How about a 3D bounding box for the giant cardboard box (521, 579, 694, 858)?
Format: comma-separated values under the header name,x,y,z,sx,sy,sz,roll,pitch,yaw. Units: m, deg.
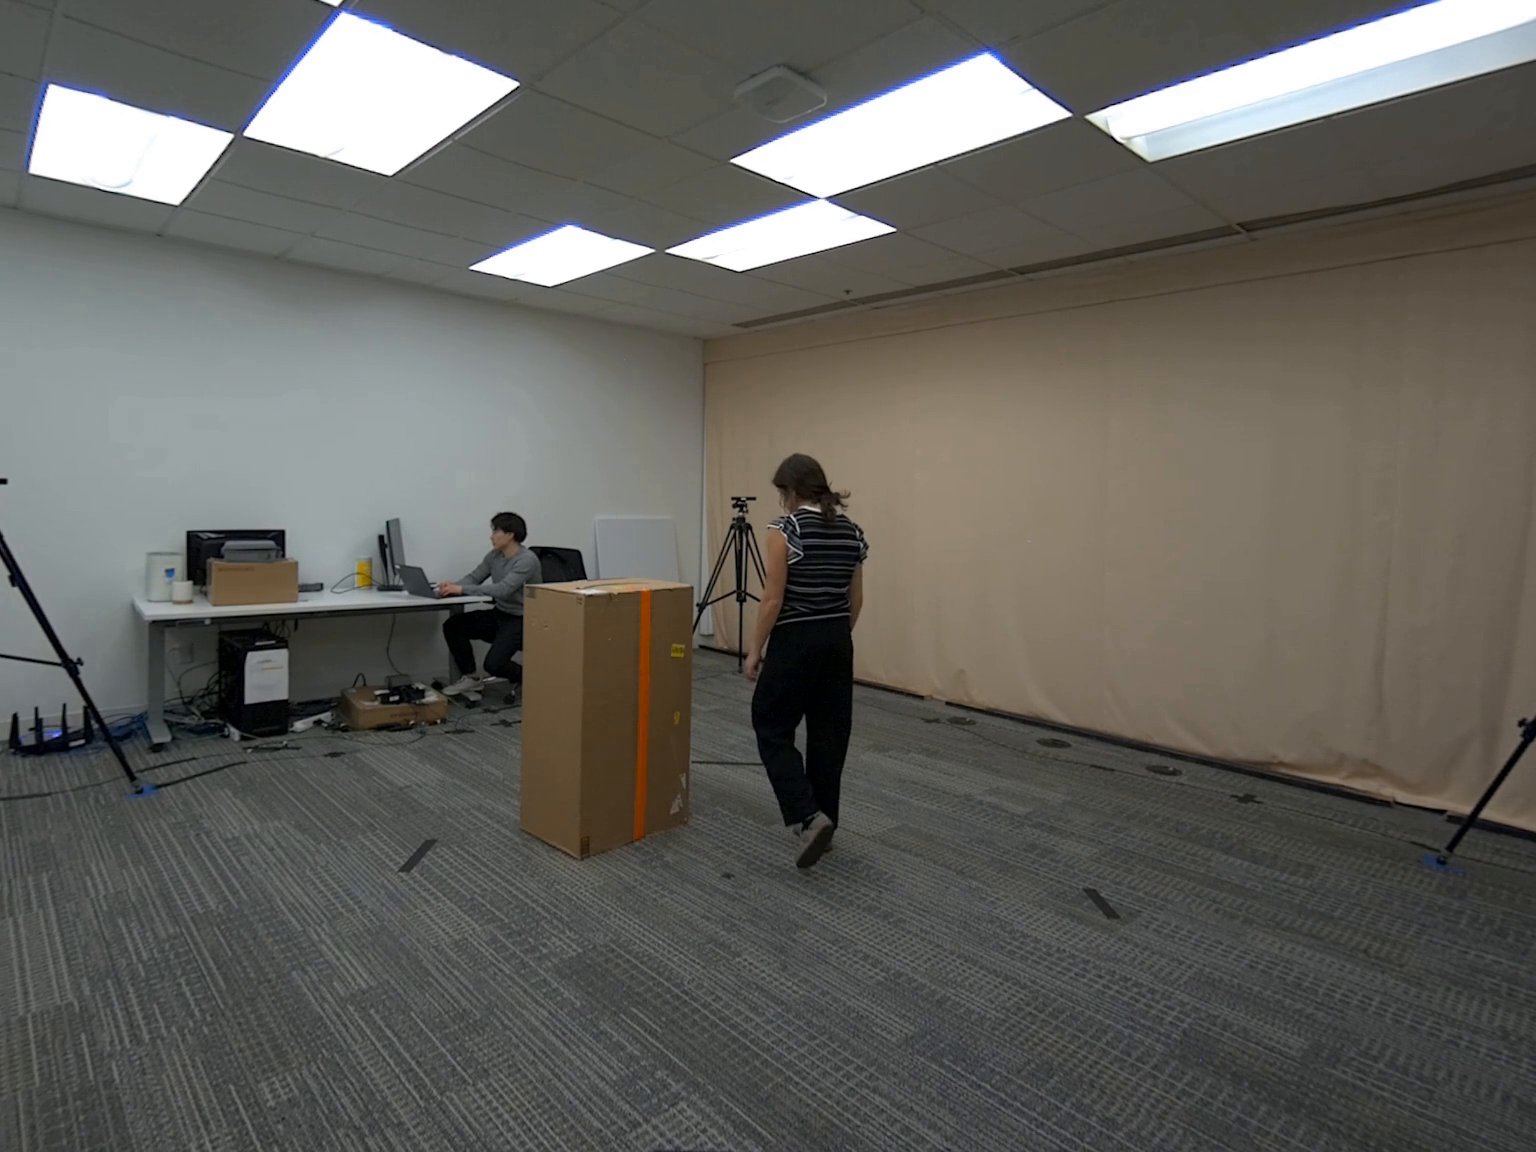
name,x,y,z,sx,sy,sz,roll,pitch,yaw
giant cardboard box,-0.675,0.549,3.530,0.437,1.023,0.564,5,4,42
